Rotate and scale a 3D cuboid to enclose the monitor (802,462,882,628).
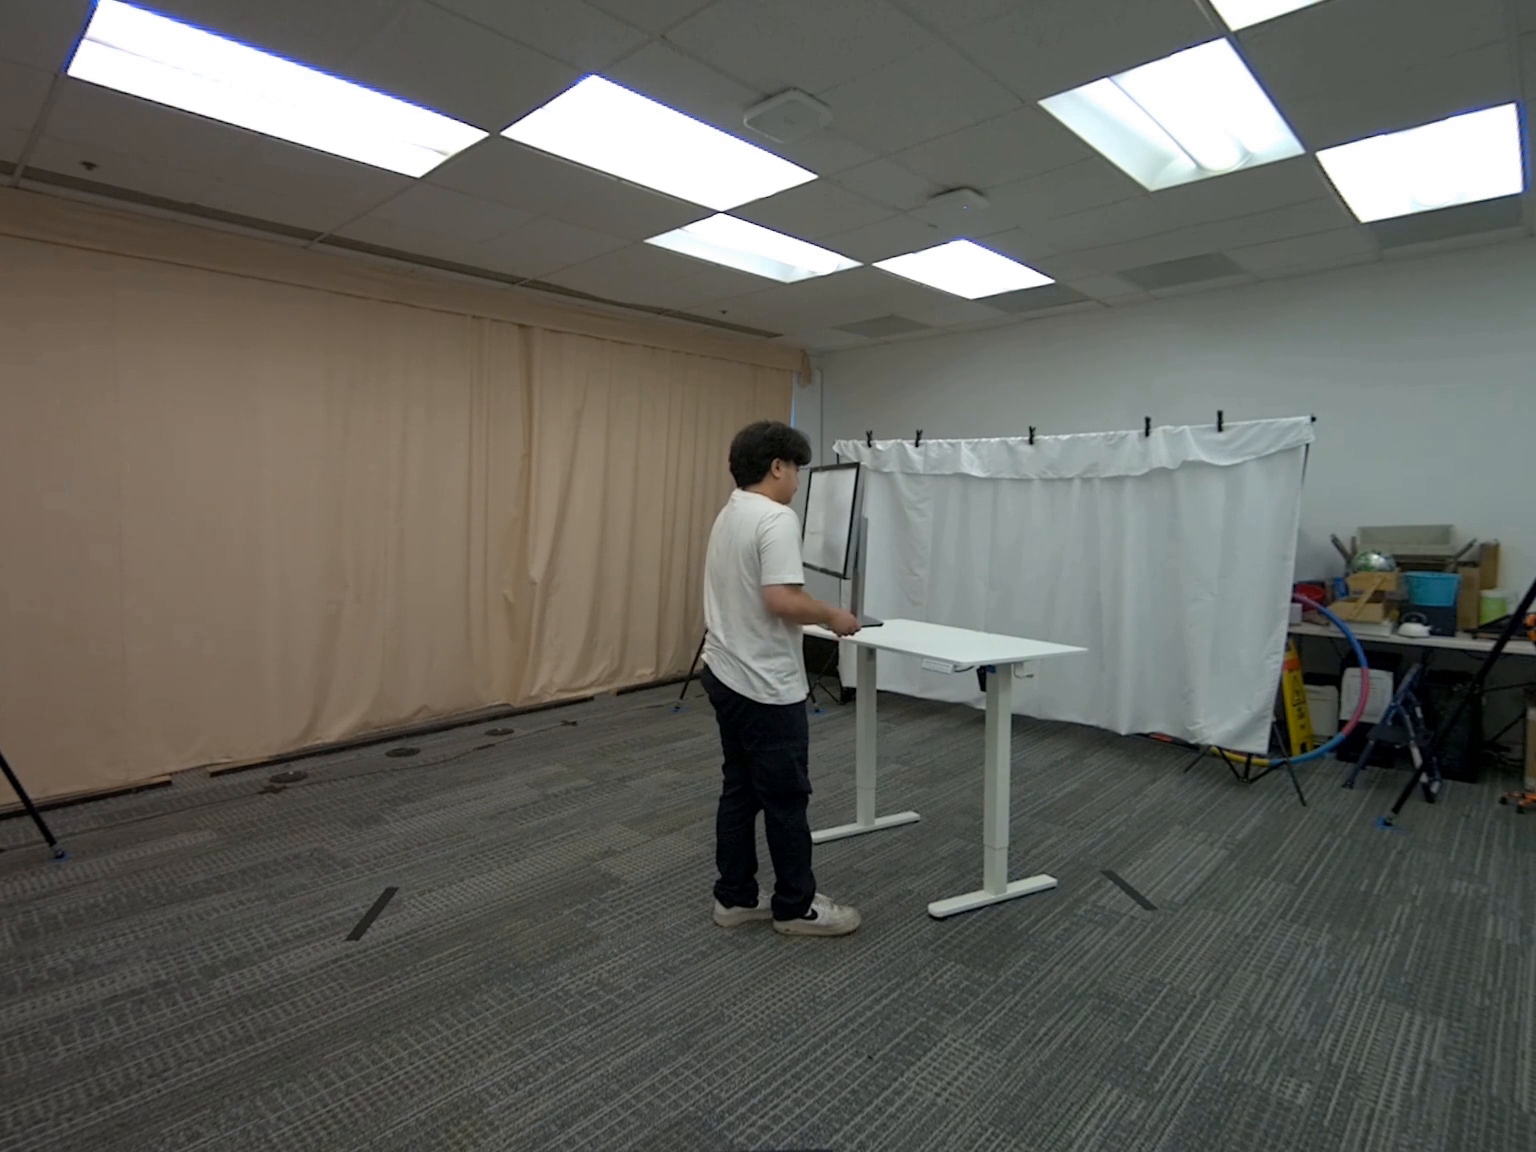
[{"bbox_3d":[0.277,-0.099,2.849,0.207,0.553,0.573,1,3,-13],"label":"monitor"}]
